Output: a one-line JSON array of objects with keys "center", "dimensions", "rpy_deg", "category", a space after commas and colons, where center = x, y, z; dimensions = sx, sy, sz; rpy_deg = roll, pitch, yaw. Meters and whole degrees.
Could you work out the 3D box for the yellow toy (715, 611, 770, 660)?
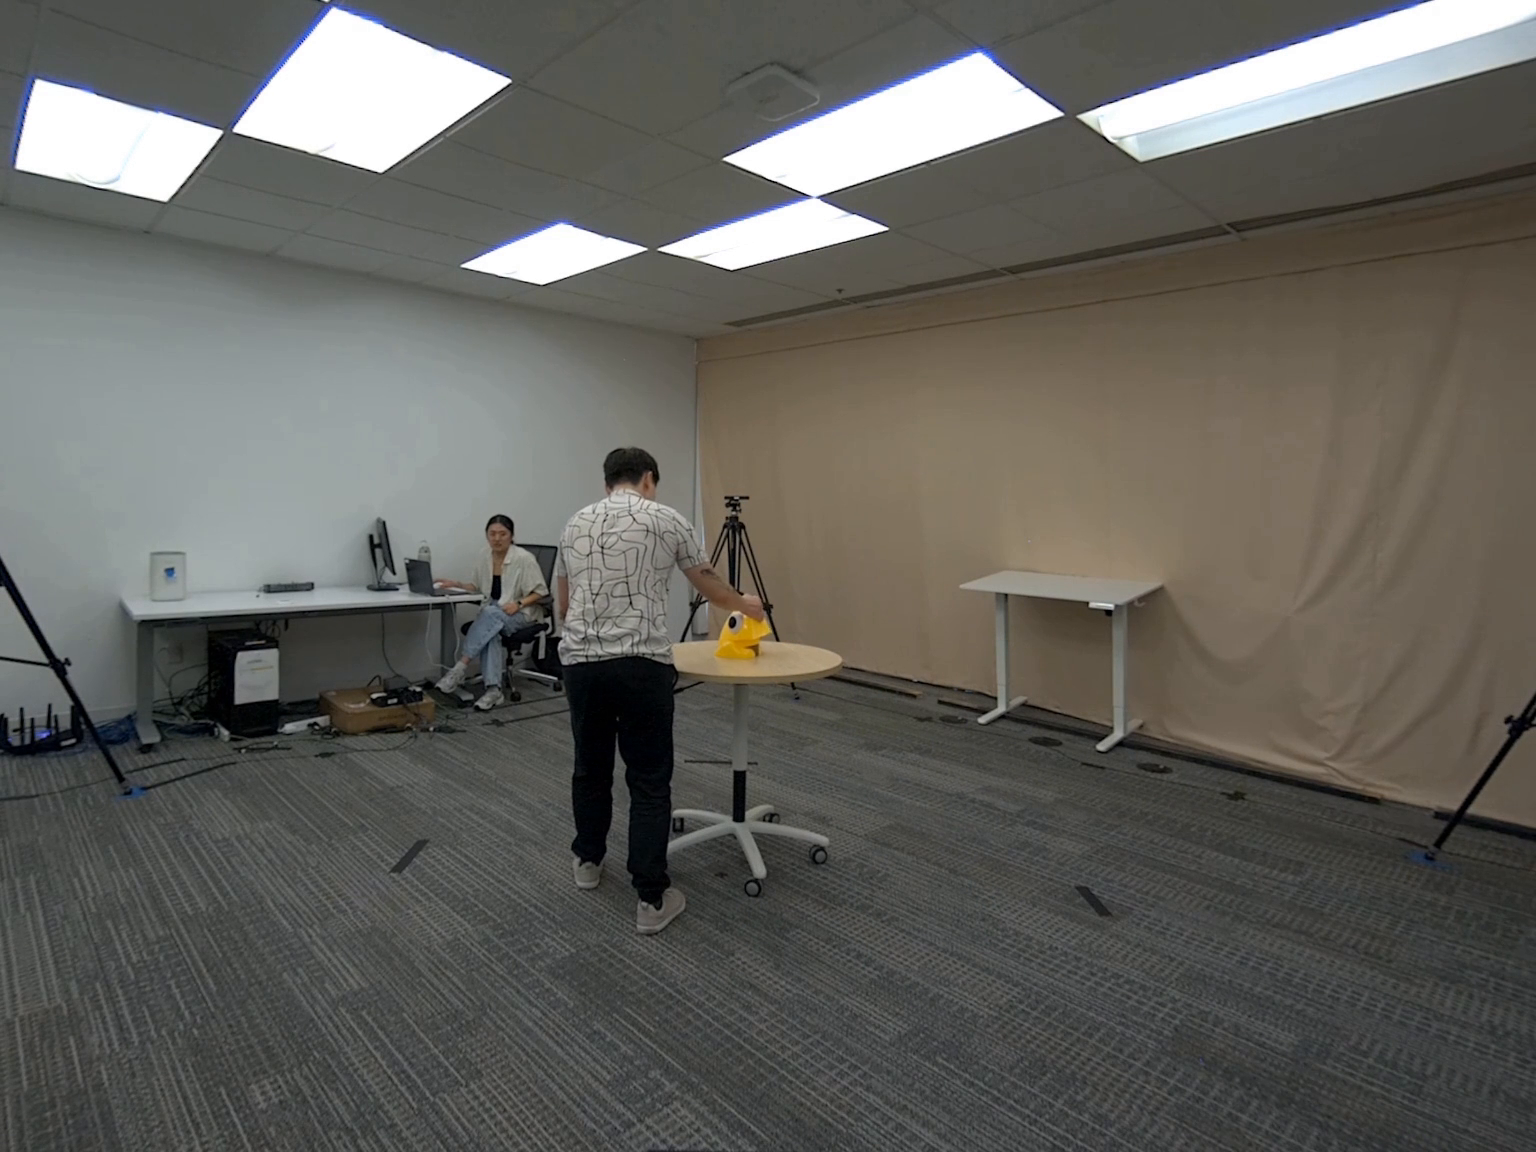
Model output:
[{"center": [-0.111, 0.192, 3.284], "dimensions": [0.196, 0.230, 0.202], "rpy_deg": [3, 3, 20], "category": "yellow toy"}]
